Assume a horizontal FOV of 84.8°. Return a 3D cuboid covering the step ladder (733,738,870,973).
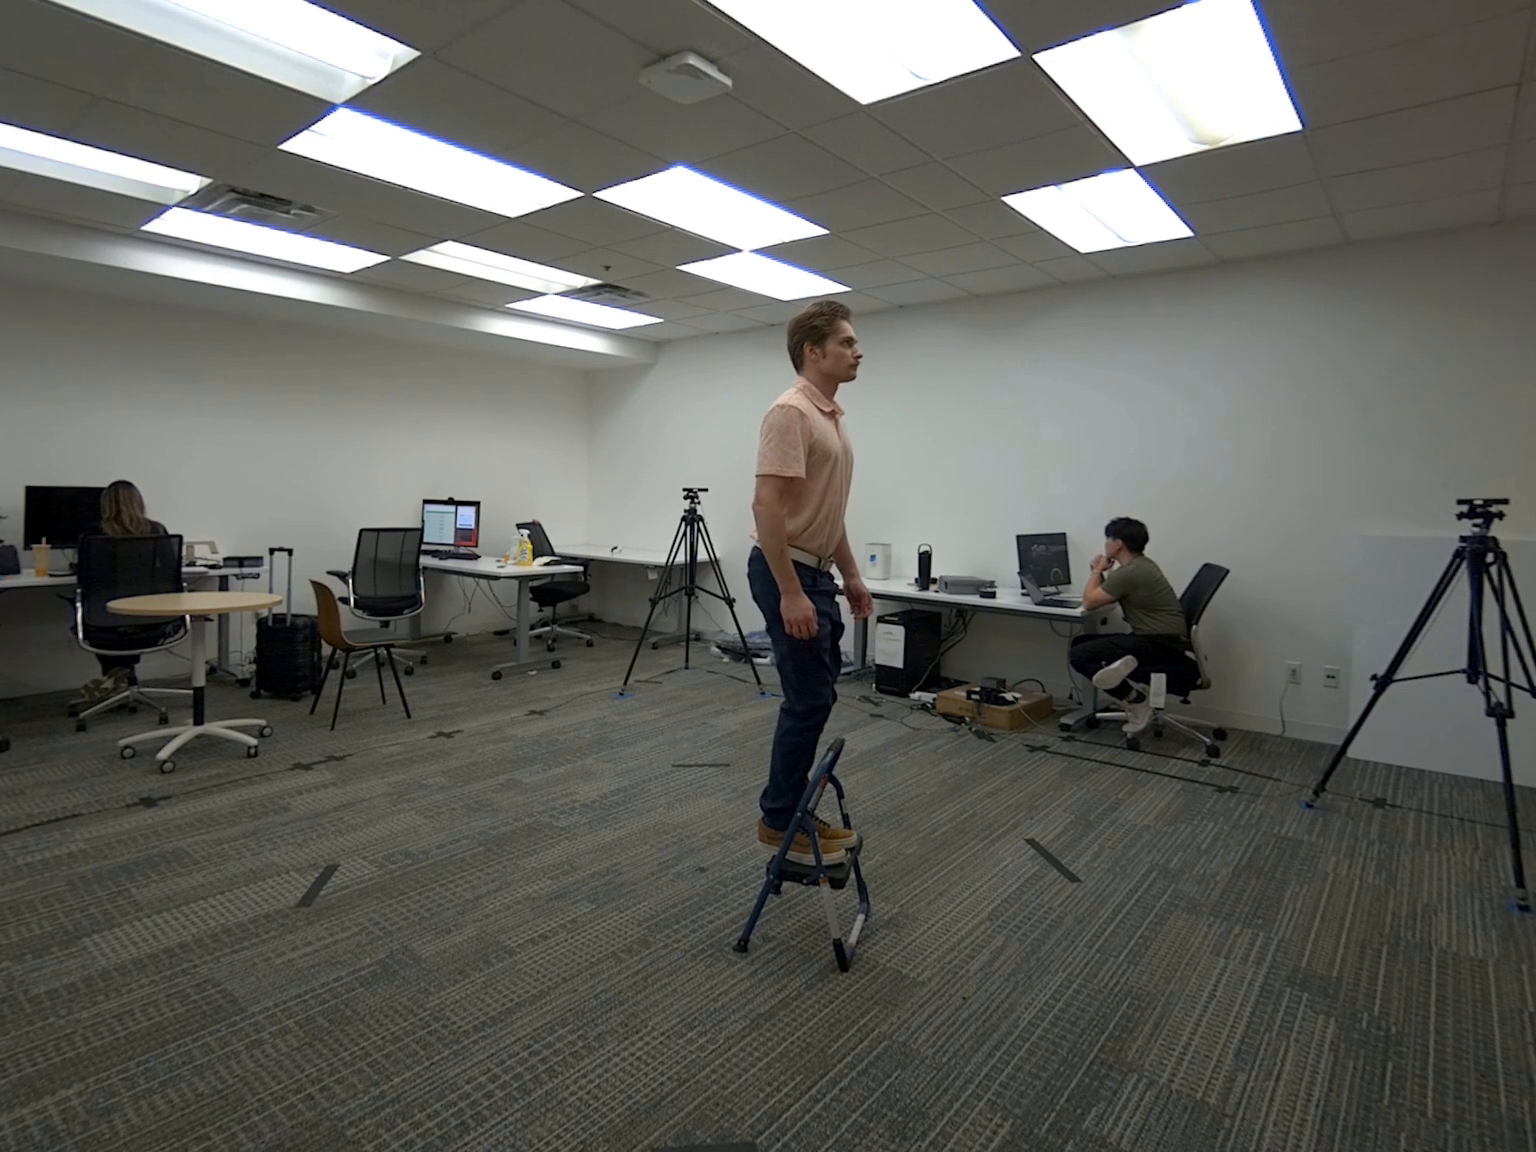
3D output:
[{"bbox_3d":[0.123,0.817,2.687,0.356,0.604,0.424,3,4,17],"label":"step ladder"}]
